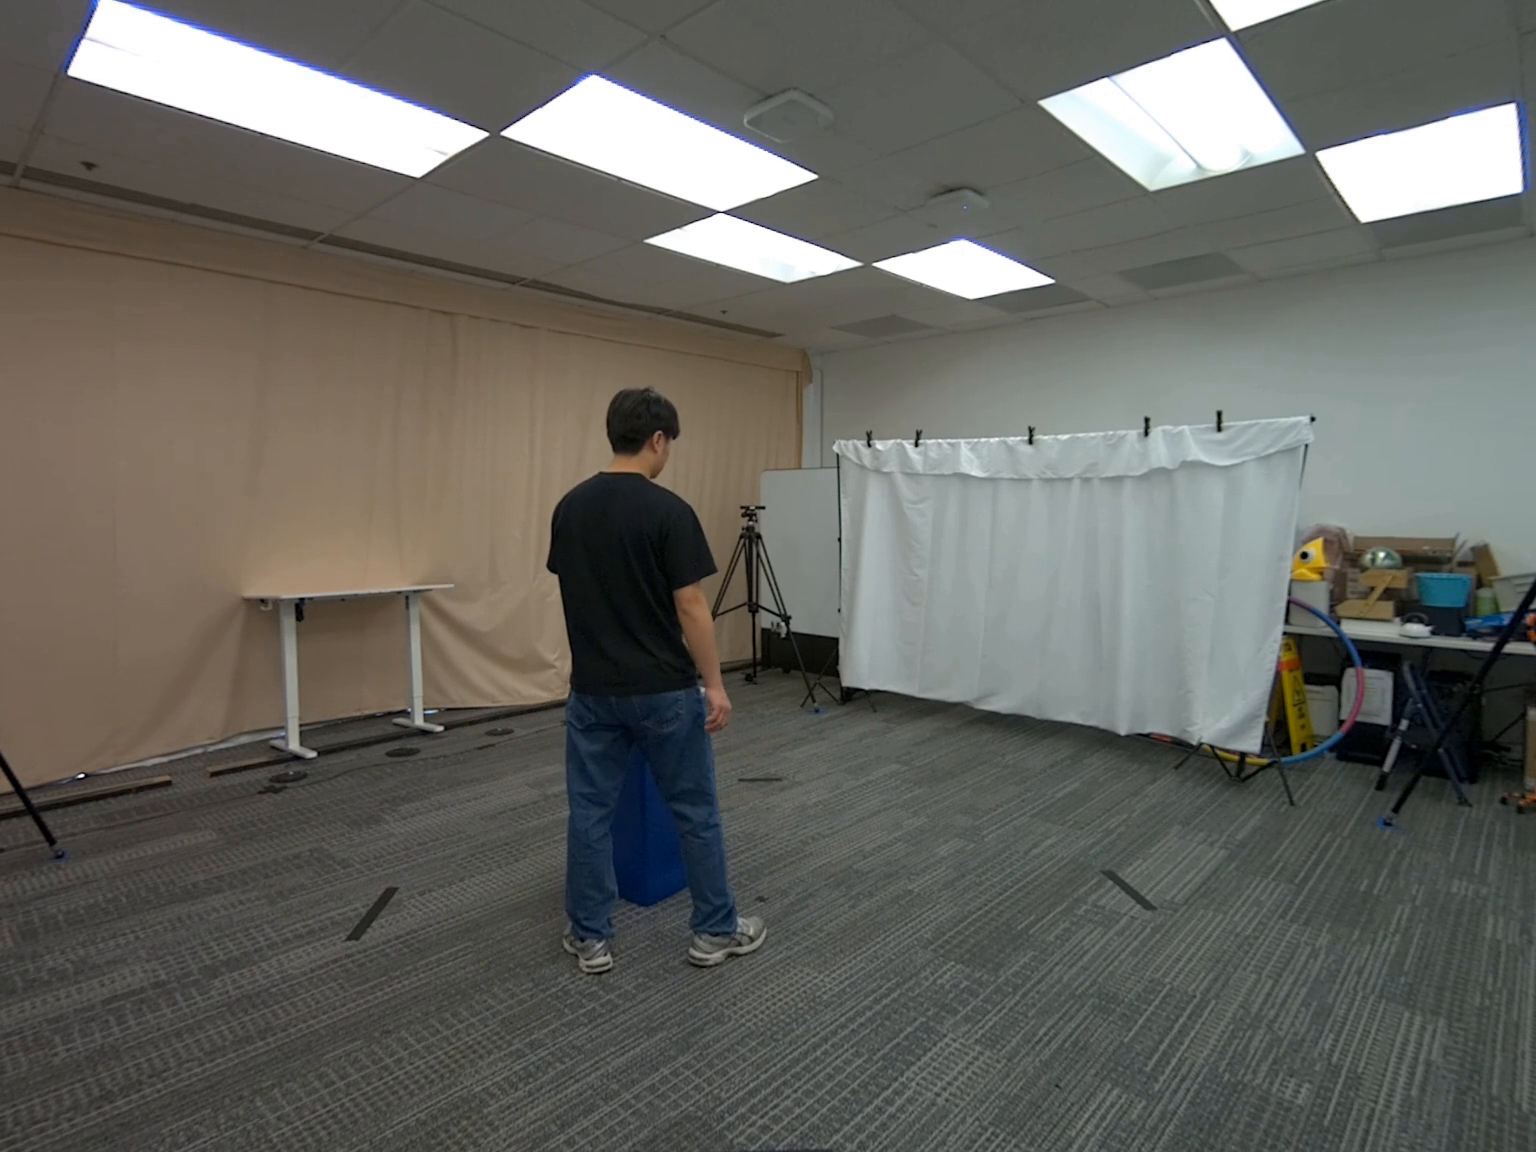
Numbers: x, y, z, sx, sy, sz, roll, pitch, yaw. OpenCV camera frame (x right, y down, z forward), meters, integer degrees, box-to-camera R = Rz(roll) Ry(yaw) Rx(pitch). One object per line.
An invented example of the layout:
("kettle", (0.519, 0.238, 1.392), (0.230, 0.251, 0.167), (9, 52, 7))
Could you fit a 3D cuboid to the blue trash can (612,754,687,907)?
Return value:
("blue trash can", (-0.464, 0.775, 3.111), (0.386, 0.712, 0.366), (2, 3, 39))
